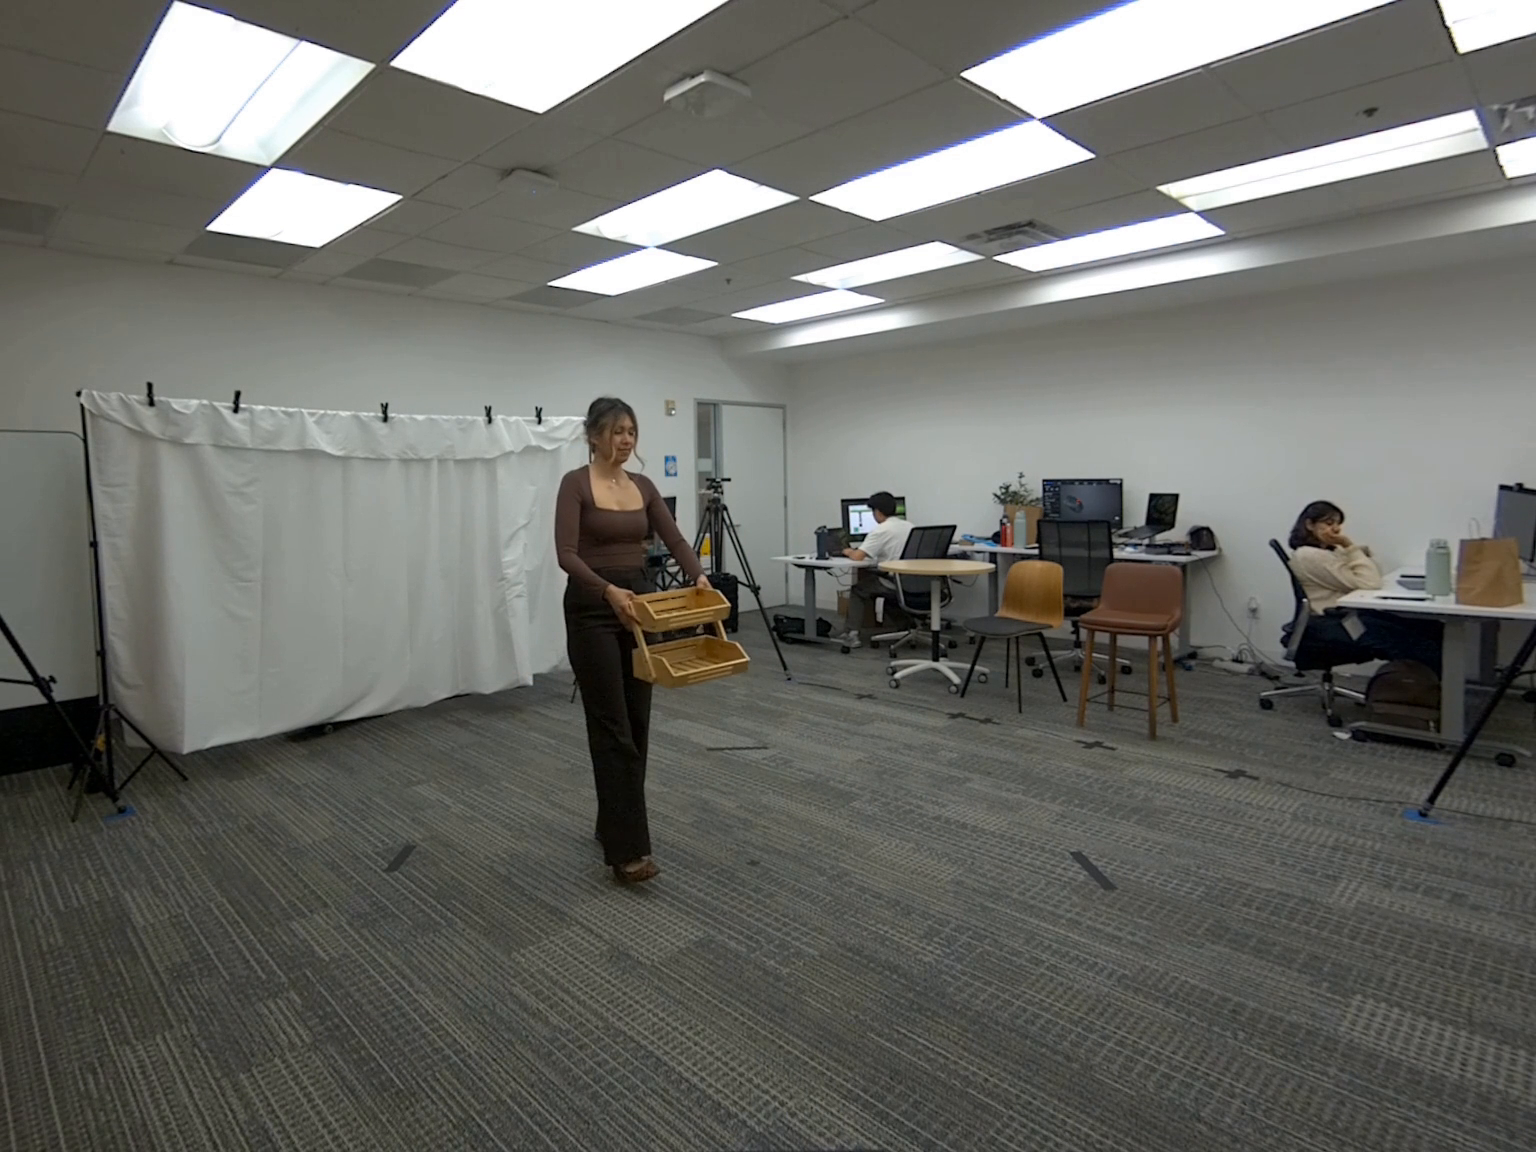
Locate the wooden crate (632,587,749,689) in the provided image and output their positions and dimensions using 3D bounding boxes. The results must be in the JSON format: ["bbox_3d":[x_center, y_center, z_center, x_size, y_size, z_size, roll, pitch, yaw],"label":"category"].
[{"bbox_3d":[-0.277,0.194,2.844,0.316,0.272,0.311,-7,8,-36],"label":"wooden crate"}]
